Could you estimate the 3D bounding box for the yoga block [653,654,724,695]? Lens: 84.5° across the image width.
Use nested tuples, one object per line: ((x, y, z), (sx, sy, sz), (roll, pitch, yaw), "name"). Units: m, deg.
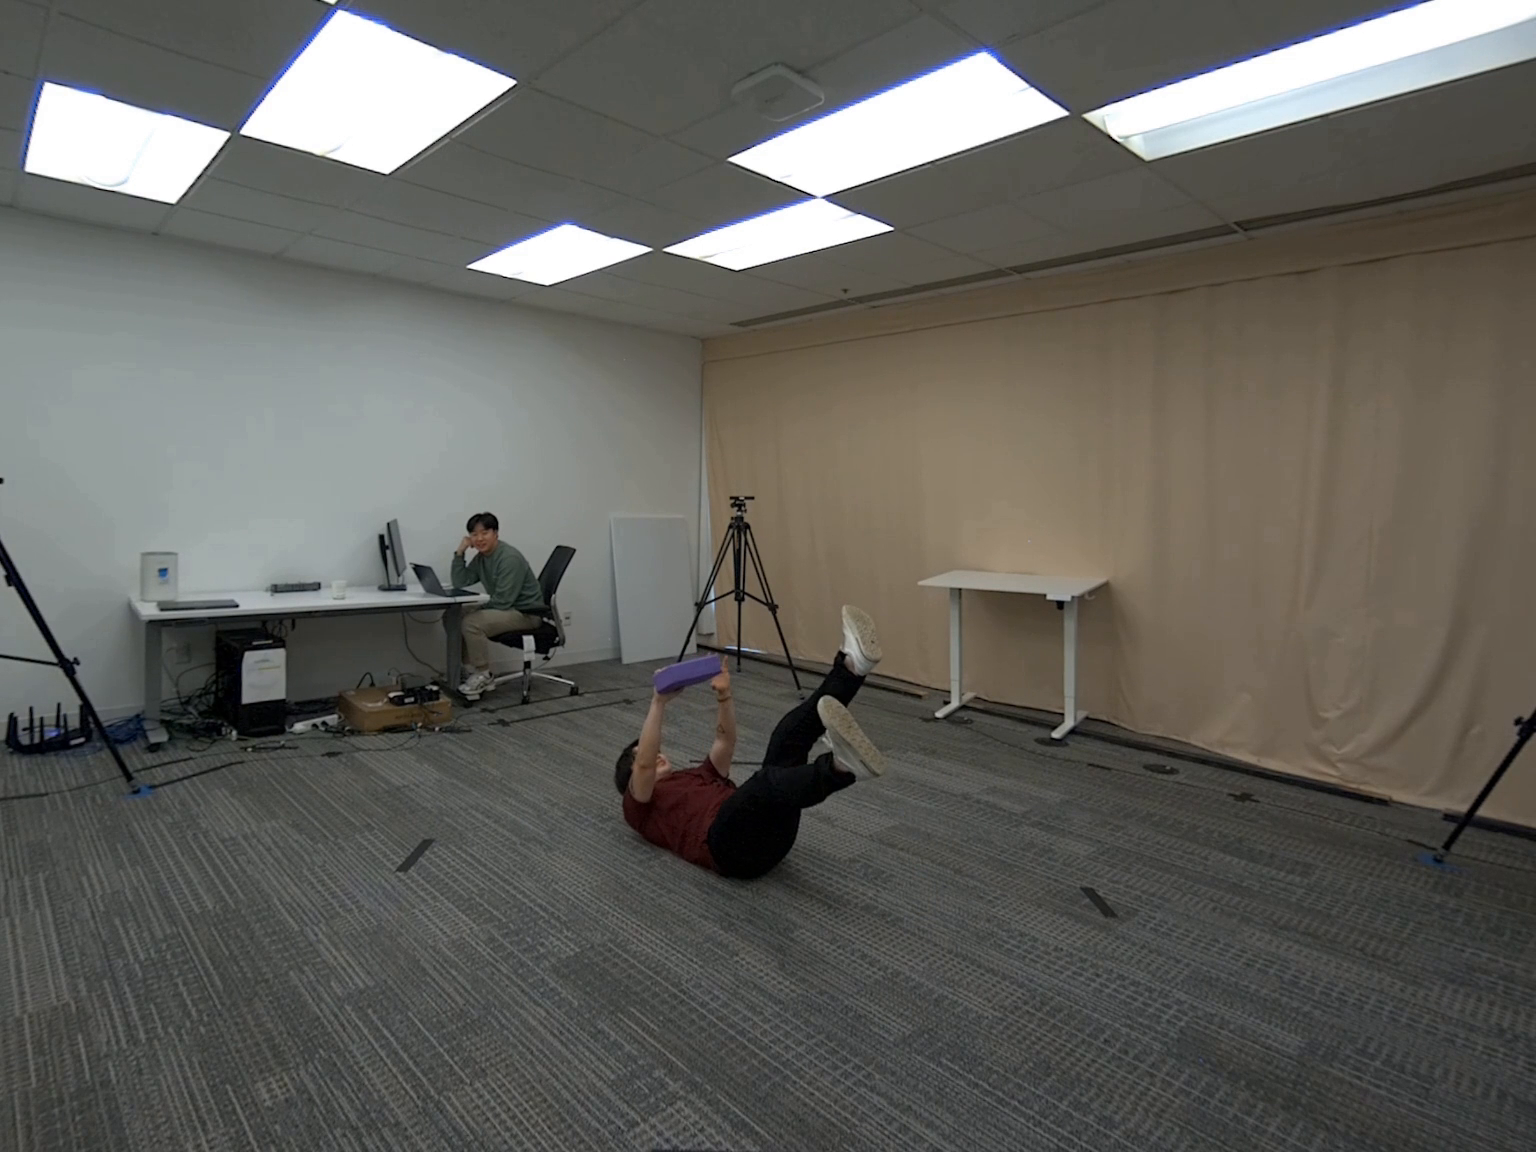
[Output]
((-0.317, 0.378, 3.245), (0.225, 0.077, 0.150), (-11, -15, -34), "yoga block")
